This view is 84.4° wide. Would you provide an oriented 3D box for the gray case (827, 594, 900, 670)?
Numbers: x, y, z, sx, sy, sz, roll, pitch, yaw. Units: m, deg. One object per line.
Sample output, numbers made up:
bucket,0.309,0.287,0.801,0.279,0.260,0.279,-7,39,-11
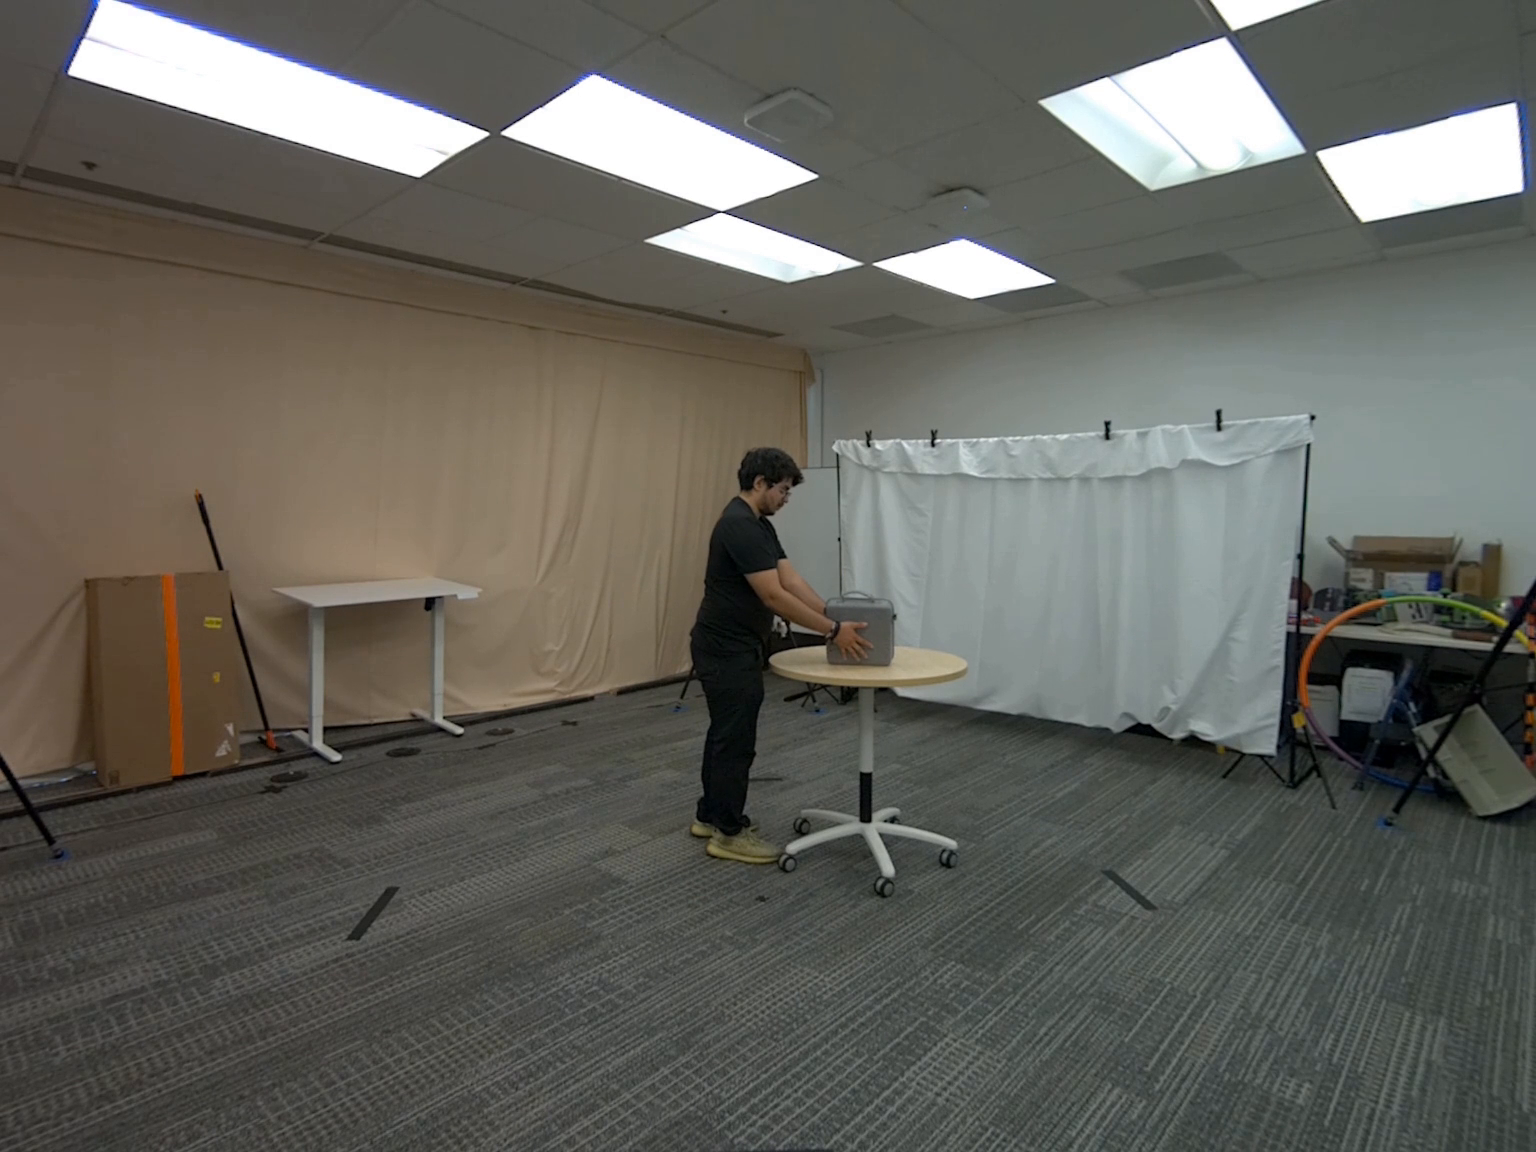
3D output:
gray case,0.361,0.209,3.203,0.260,0.258,0.104,-1,12,13
